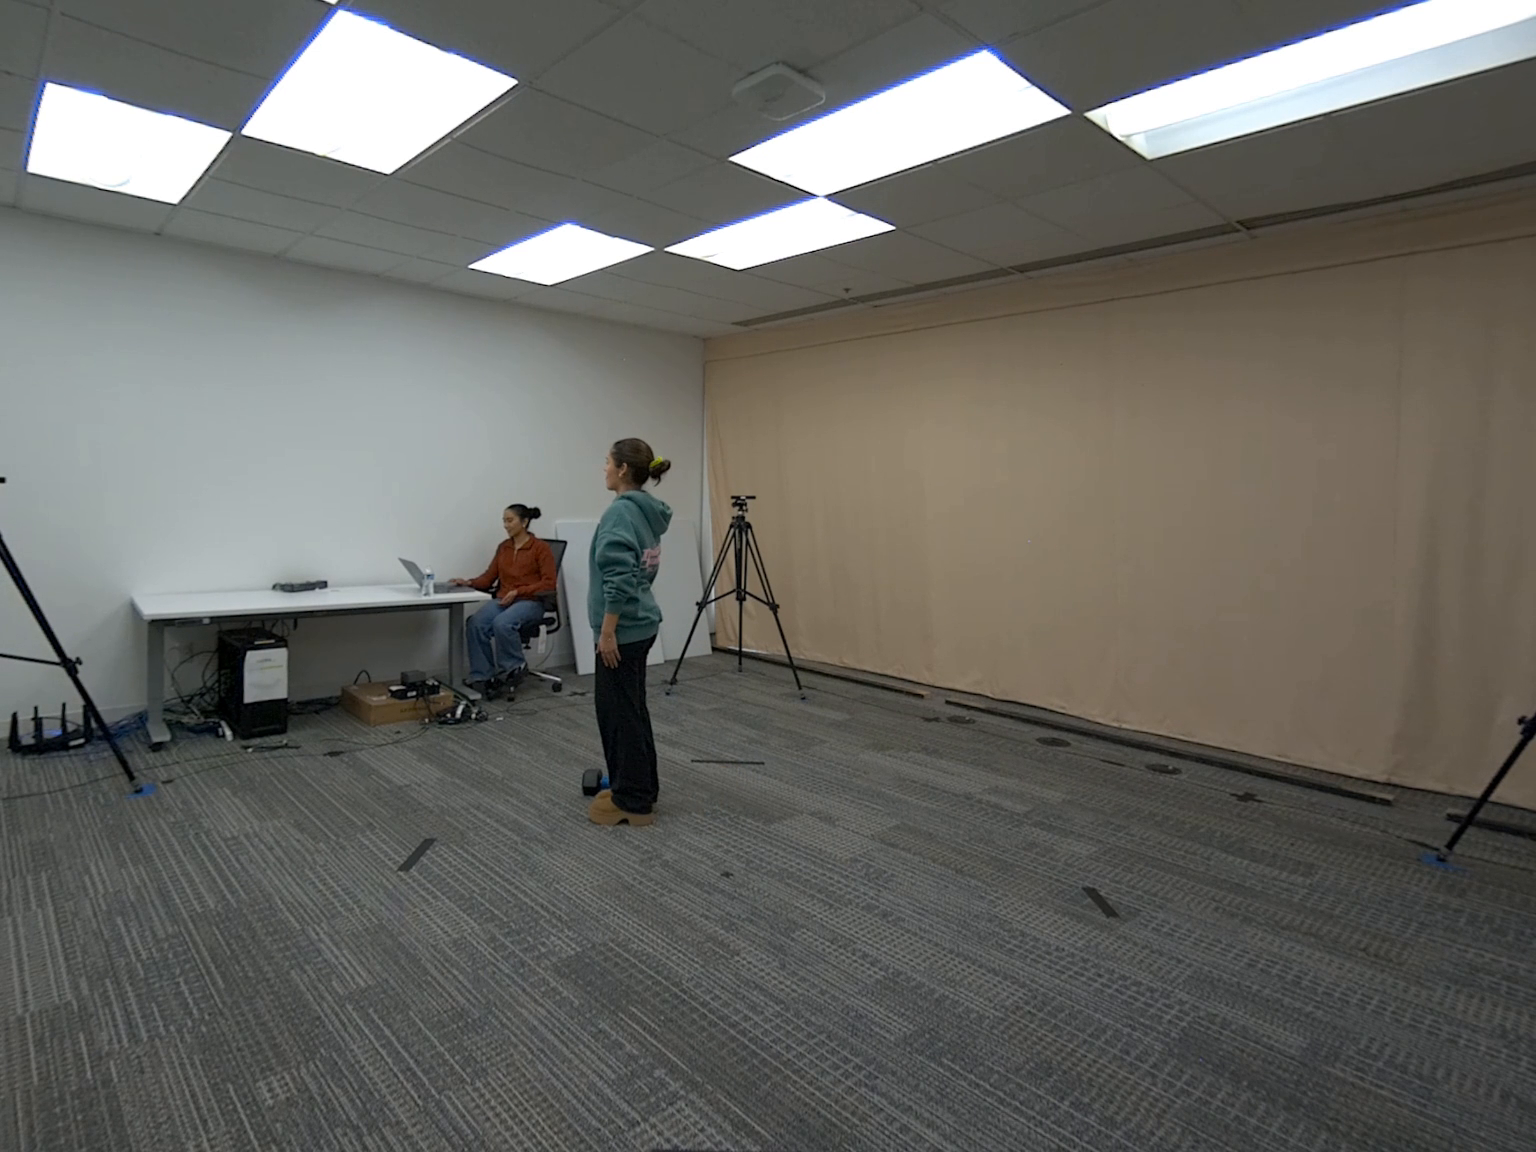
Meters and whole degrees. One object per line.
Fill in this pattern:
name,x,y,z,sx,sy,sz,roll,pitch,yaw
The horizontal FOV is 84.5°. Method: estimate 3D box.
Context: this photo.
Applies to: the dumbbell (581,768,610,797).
dumbbell,-0.723,0.965,3.913,0.294,0.125,0.106,2,-26,3
